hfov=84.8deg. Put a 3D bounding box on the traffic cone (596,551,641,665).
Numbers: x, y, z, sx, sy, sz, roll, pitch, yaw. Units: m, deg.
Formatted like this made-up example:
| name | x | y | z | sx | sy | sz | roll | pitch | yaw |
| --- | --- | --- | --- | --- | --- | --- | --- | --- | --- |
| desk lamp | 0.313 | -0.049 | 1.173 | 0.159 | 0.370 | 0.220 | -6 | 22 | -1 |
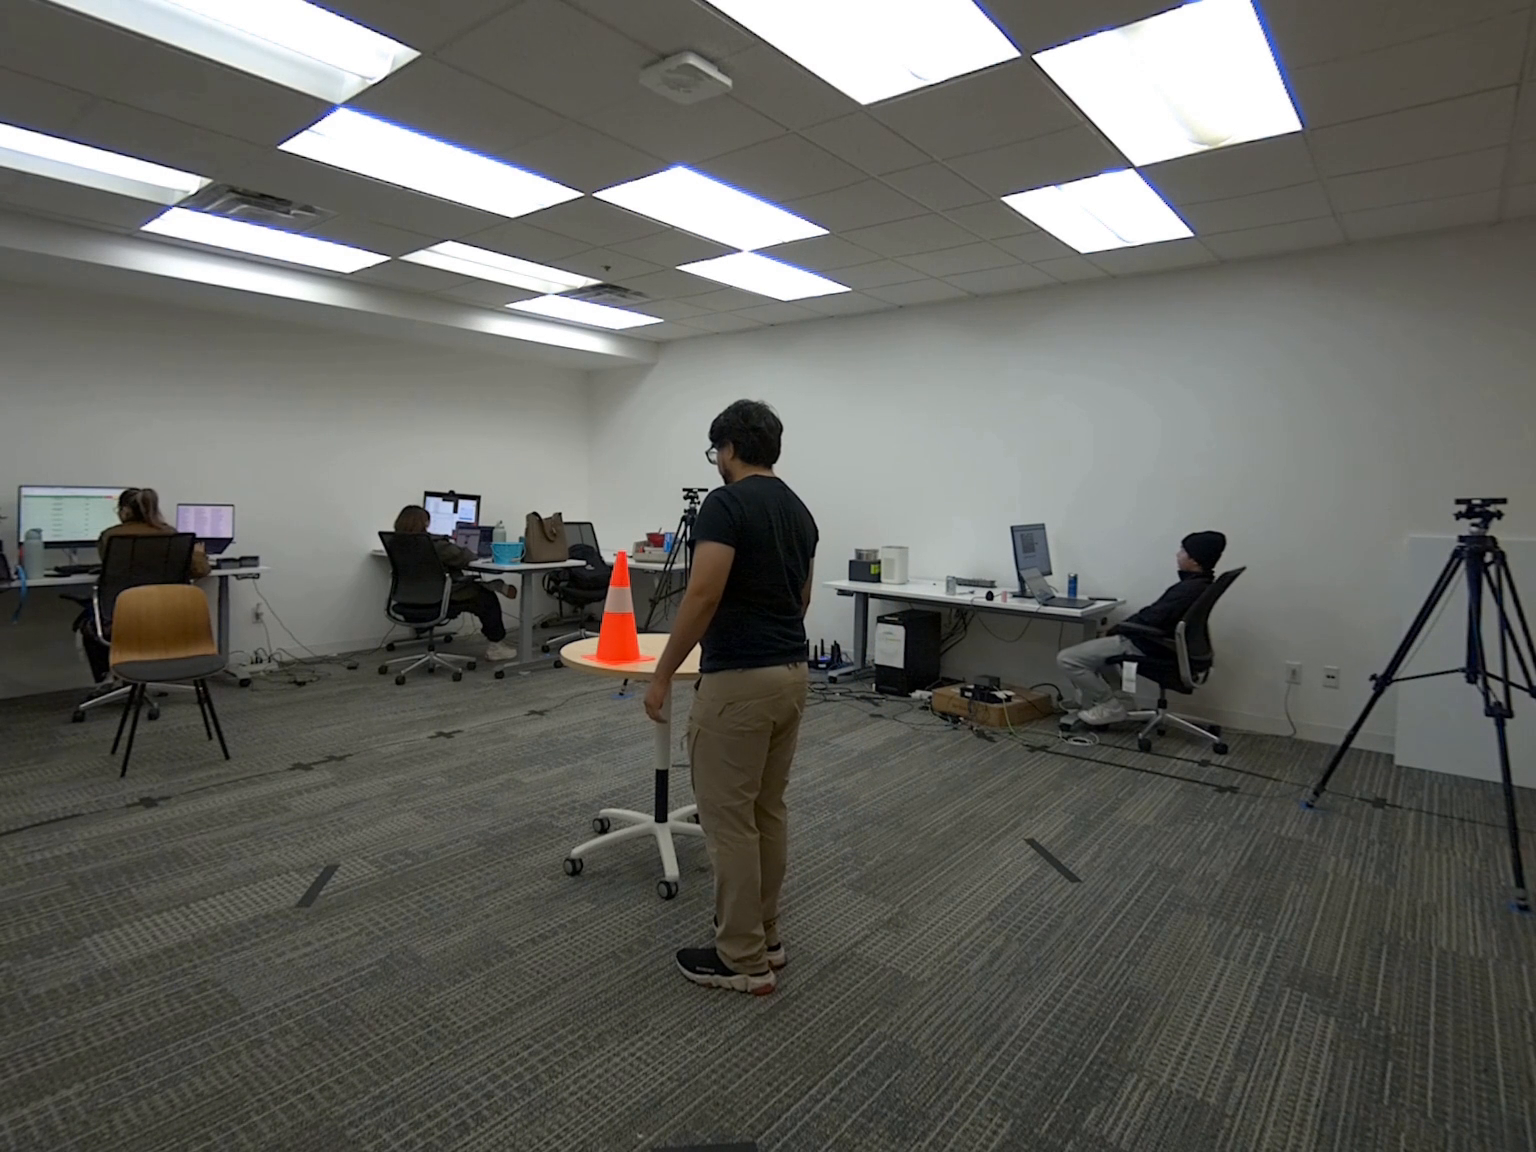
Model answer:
| name | x | y | z | sx | sy | sz | roll | pitch | yaw |
| --- | --- | --- | --- | --- | --- | --- | --- | --- | --- |
| traffic cone | -0.537 | 0.103 | 2.998 | 0.211 | 0.383 | 0.198 | 4 | 3 | 32 |
